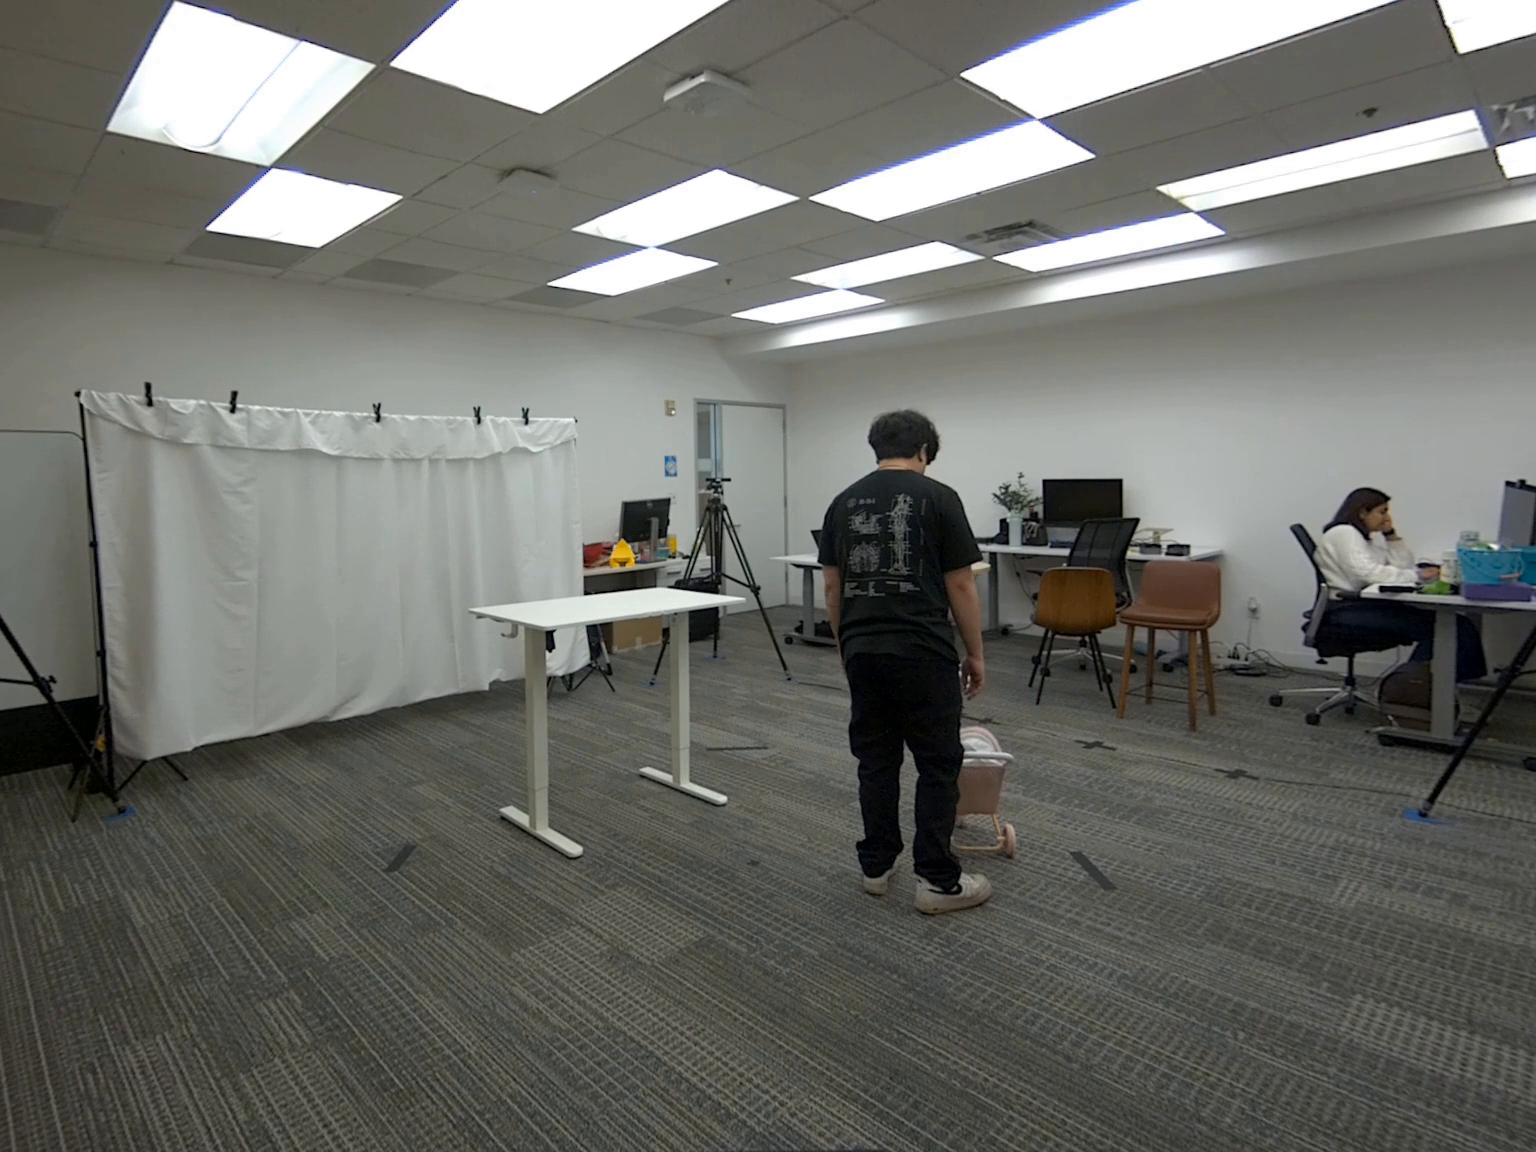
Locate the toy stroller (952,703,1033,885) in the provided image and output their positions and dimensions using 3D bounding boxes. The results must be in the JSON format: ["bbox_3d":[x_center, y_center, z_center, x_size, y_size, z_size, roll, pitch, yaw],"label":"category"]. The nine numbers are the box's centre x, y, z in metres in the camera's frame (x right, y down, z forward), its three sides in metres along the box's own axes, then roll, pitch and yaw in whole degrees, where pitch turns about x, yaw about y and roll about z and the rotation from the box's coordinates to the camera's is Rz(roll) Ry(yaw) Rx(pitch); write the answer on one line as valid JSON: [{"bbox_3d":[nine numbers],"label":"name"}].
[{"bbox_3d":[0.777,0.799,3.194,0.283,0.526,0.345,1,19,5],"label":"toy stroller"}]
